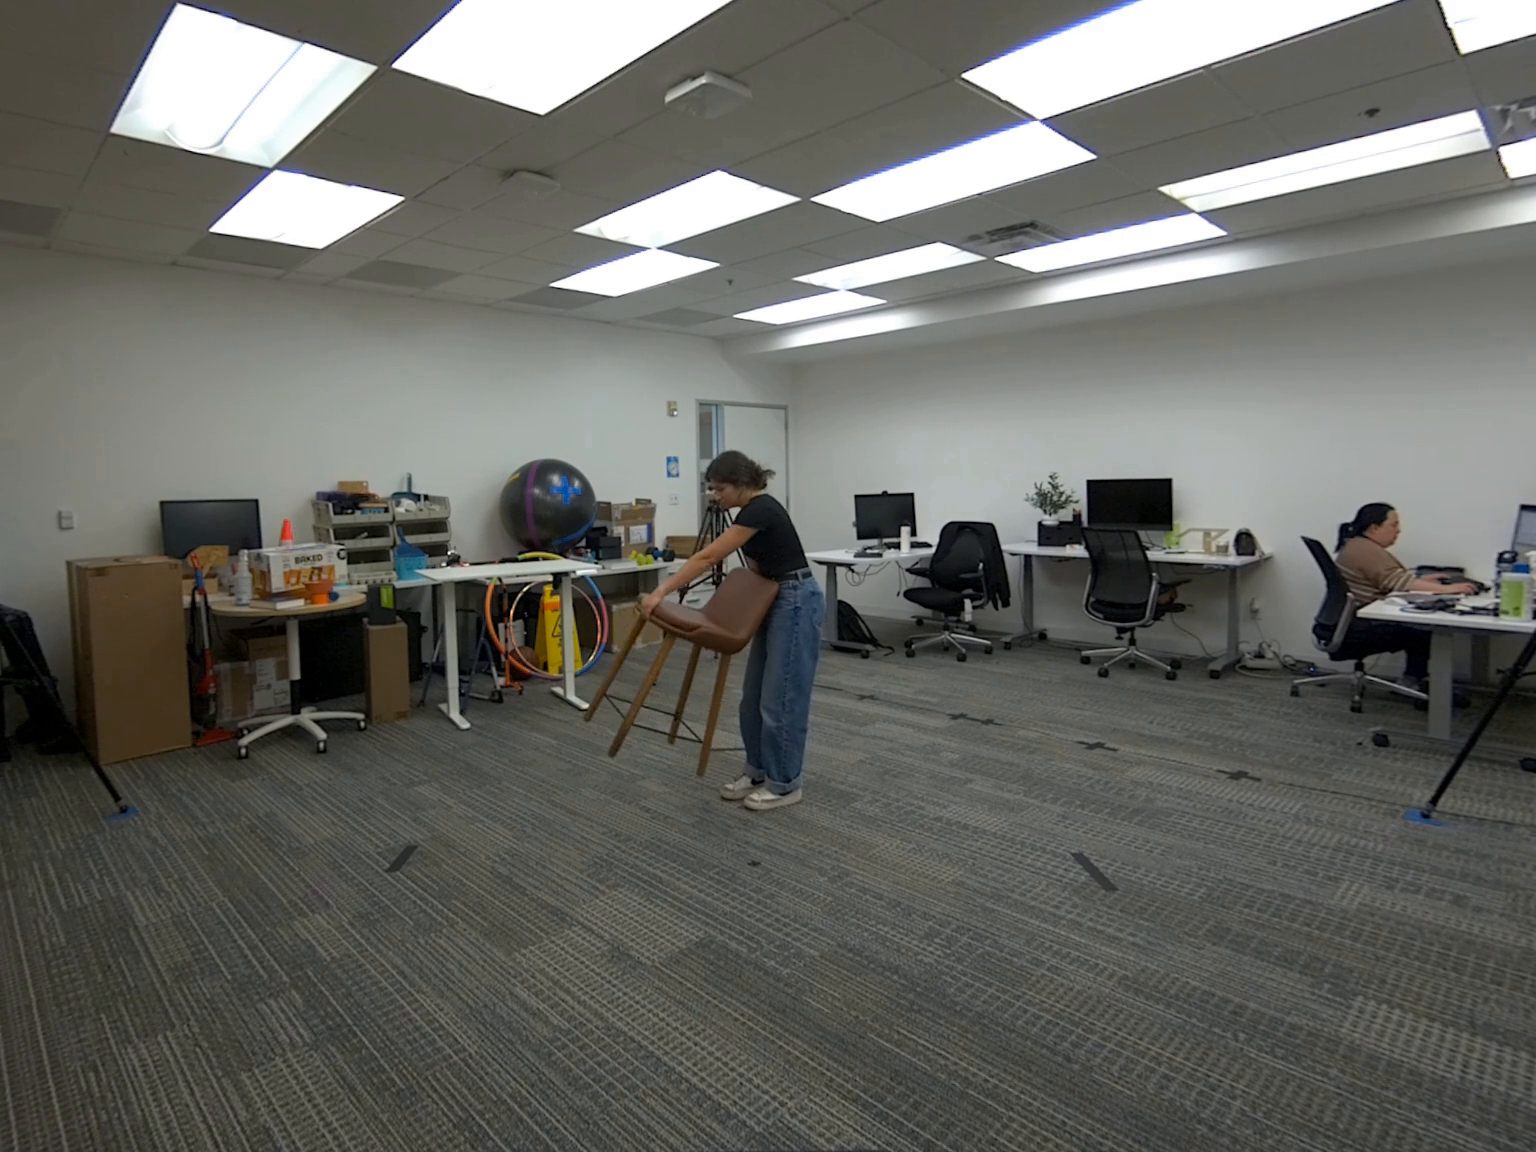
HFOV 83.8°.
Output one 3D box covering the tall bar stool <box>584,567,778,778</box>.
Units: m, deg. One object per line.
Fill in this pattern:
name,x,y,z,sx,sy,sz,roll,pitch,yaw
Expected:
tall bar stool,-0.372,0.337,3.628,0.453,0.889,0.470,23,0,-28
